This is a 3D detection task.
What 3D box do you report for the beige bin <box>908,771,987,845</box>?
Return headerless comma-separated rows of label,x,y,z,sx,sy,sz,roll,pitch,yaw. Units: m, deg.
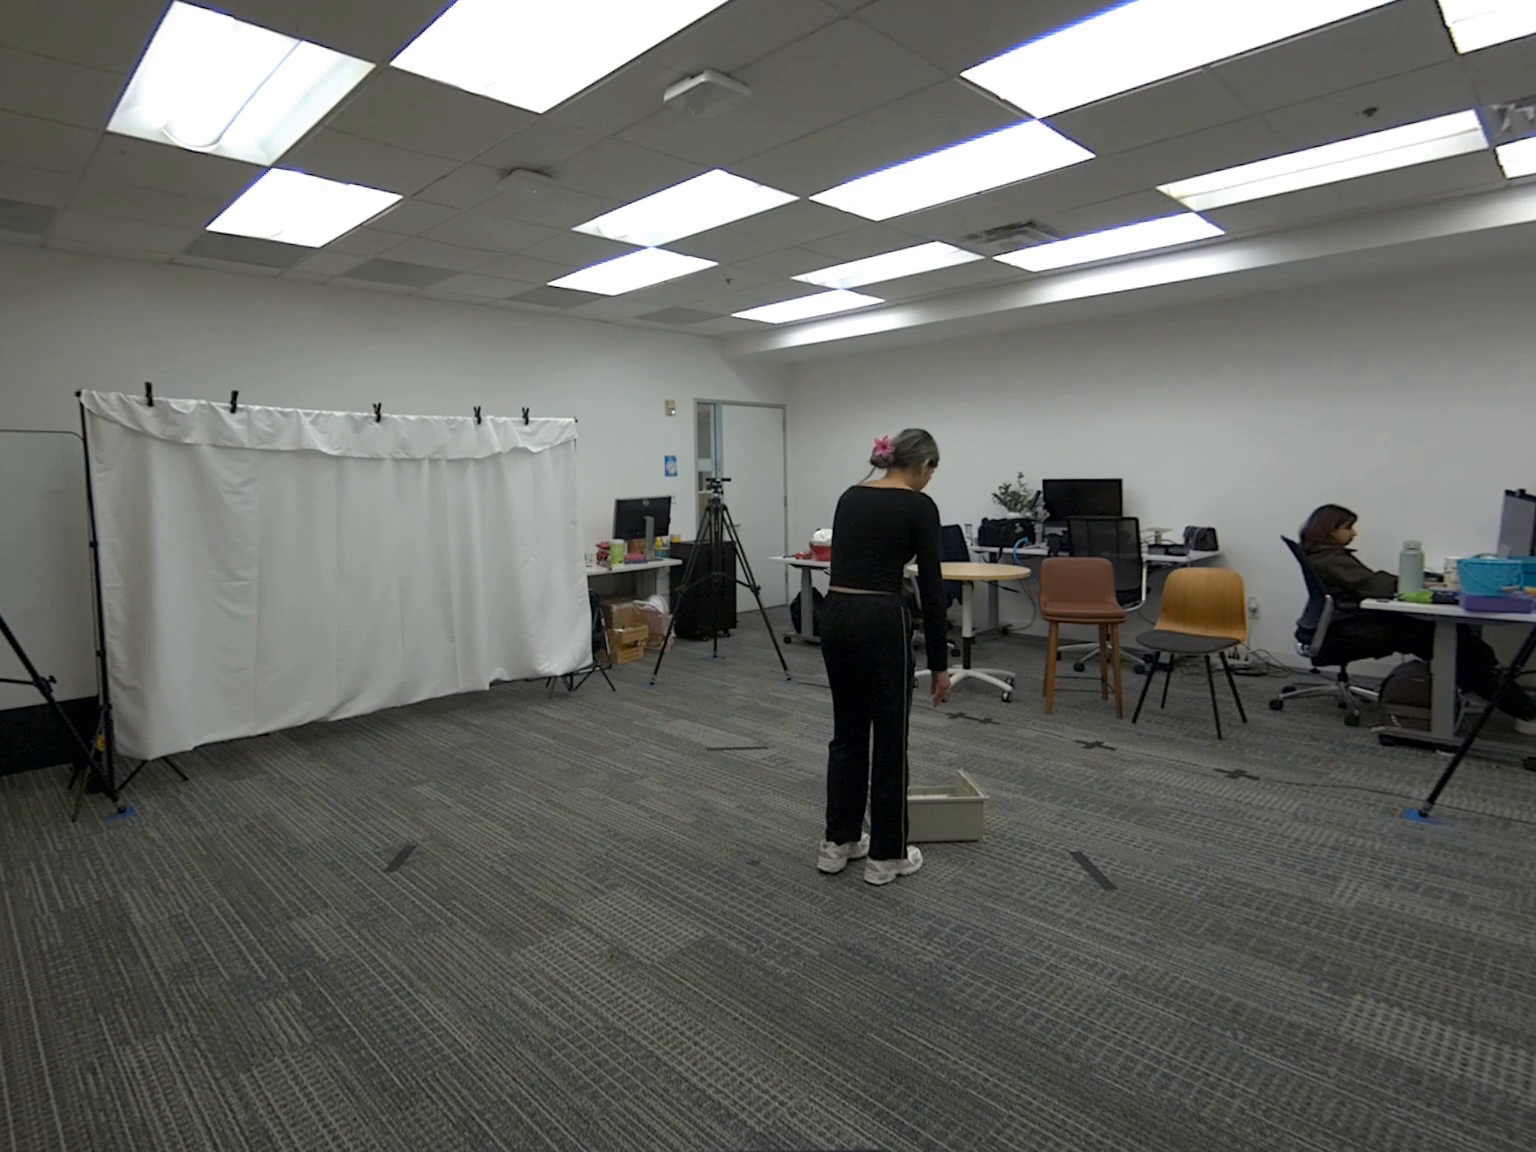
beige bin,0.616,0.911,3.410,0.421,0.188,0.380,0,6,-4
